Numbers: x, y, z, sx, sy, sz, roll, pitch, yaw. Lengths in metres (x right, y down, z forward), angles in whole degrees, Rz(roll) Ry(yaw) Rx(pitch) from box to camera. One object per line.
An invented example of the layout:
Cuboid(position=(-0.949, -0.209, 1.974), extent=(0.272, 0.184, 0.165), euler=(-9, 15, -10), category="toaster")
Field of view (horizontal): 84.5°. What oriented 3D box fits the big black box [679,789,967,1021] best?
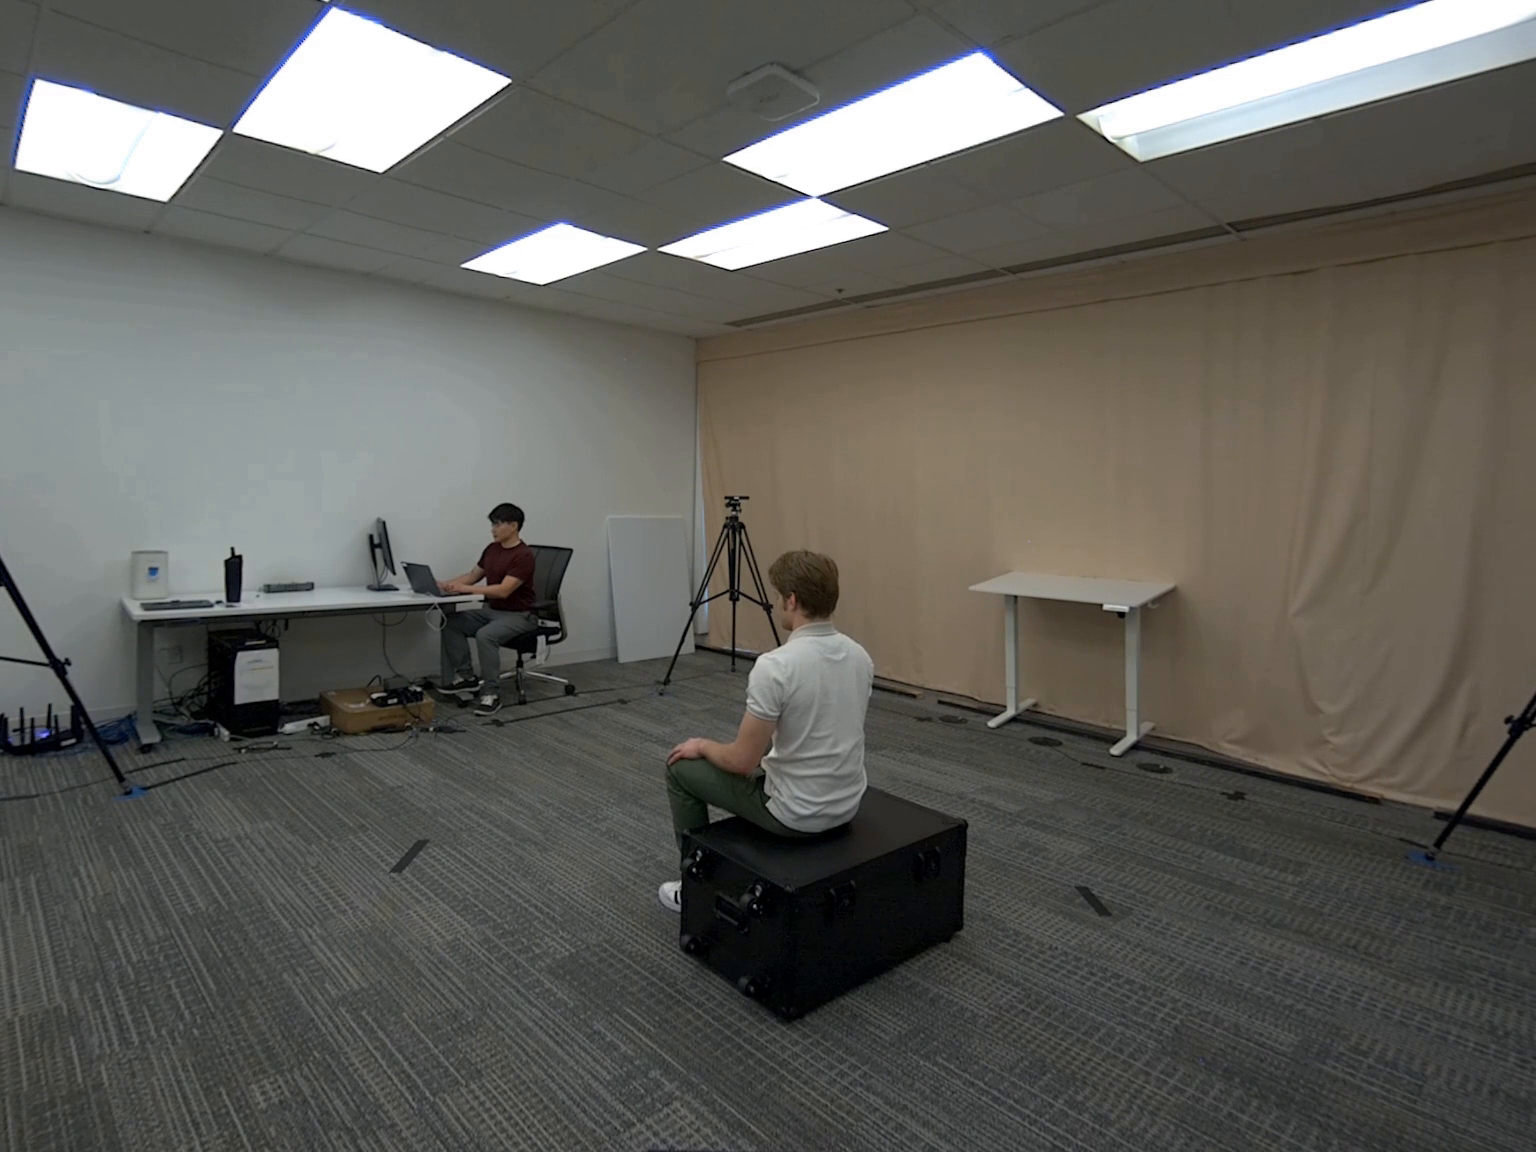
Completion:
Cuboid(position=(0.151, 0.966, 2.608), extent=(0.849, 0.384, 0.537), euler=(-3, 7, -41), category="big black box")
